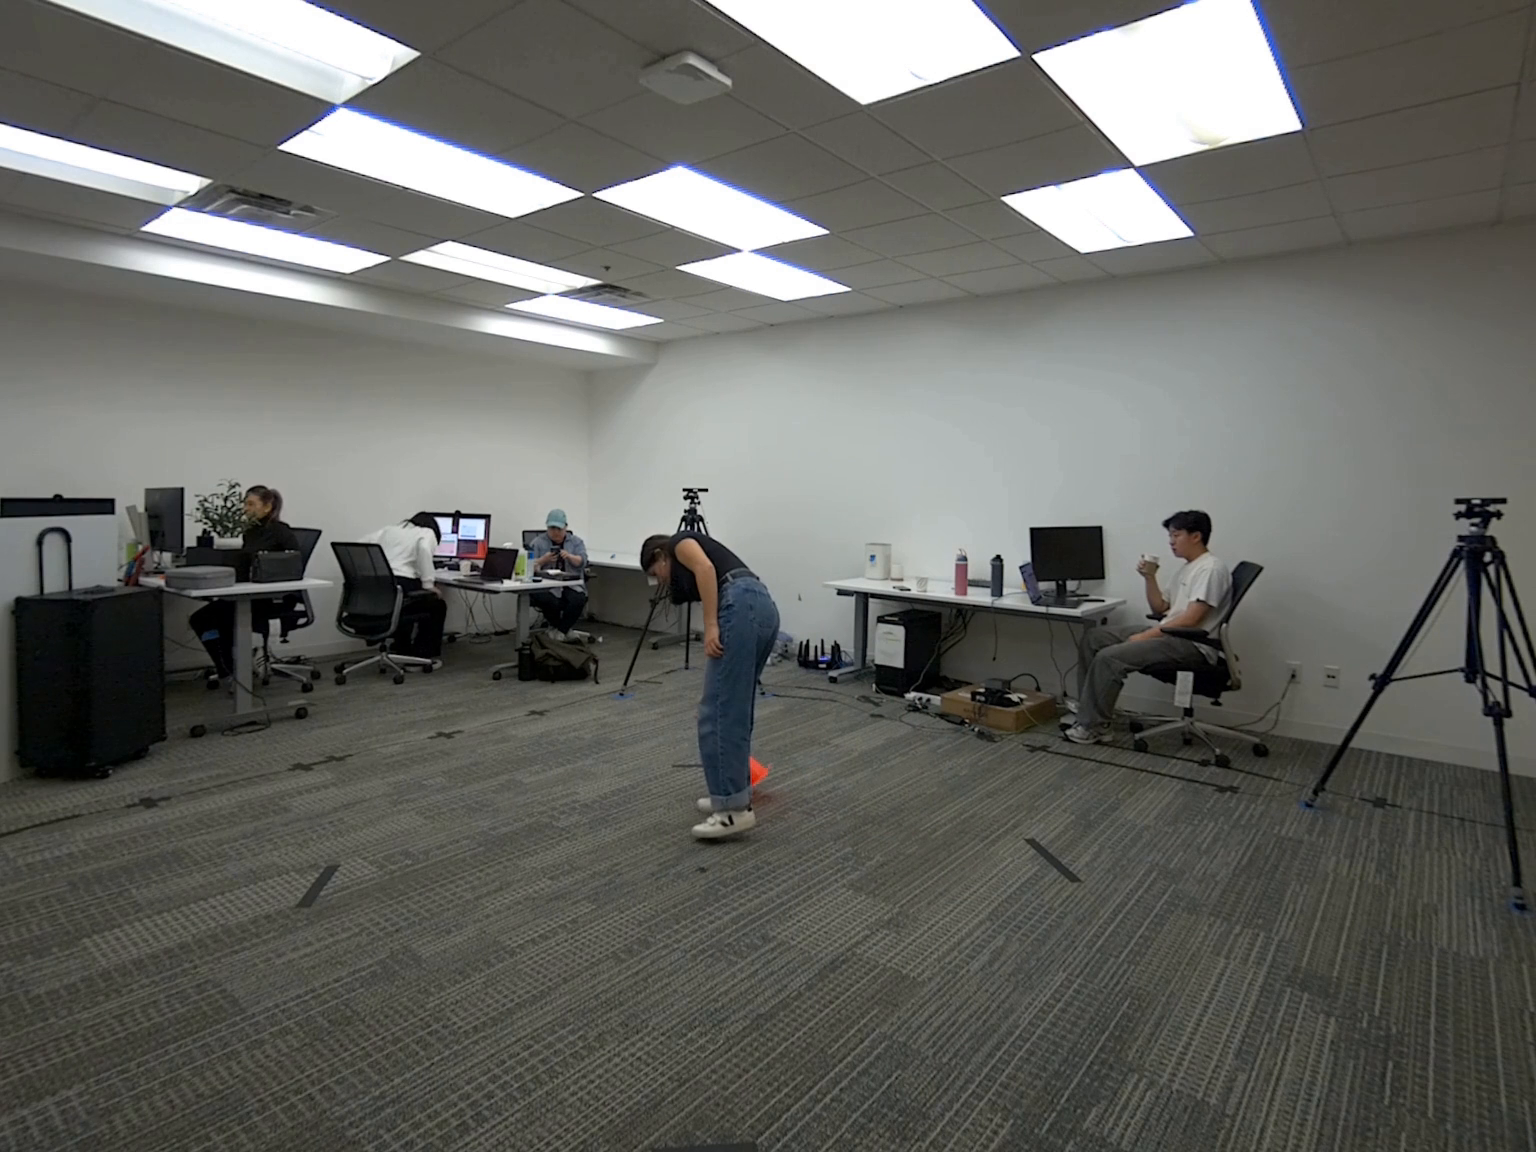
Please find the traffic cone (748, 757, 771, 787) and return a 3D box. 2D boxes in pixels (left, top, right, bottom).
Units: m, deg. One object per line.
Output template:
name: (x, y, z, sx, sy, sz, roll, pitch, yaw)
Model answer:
traffic cone: (-0.179, 0.781, 3.887, 0.205, 0.387, 0.201, -42, -6, 9)
